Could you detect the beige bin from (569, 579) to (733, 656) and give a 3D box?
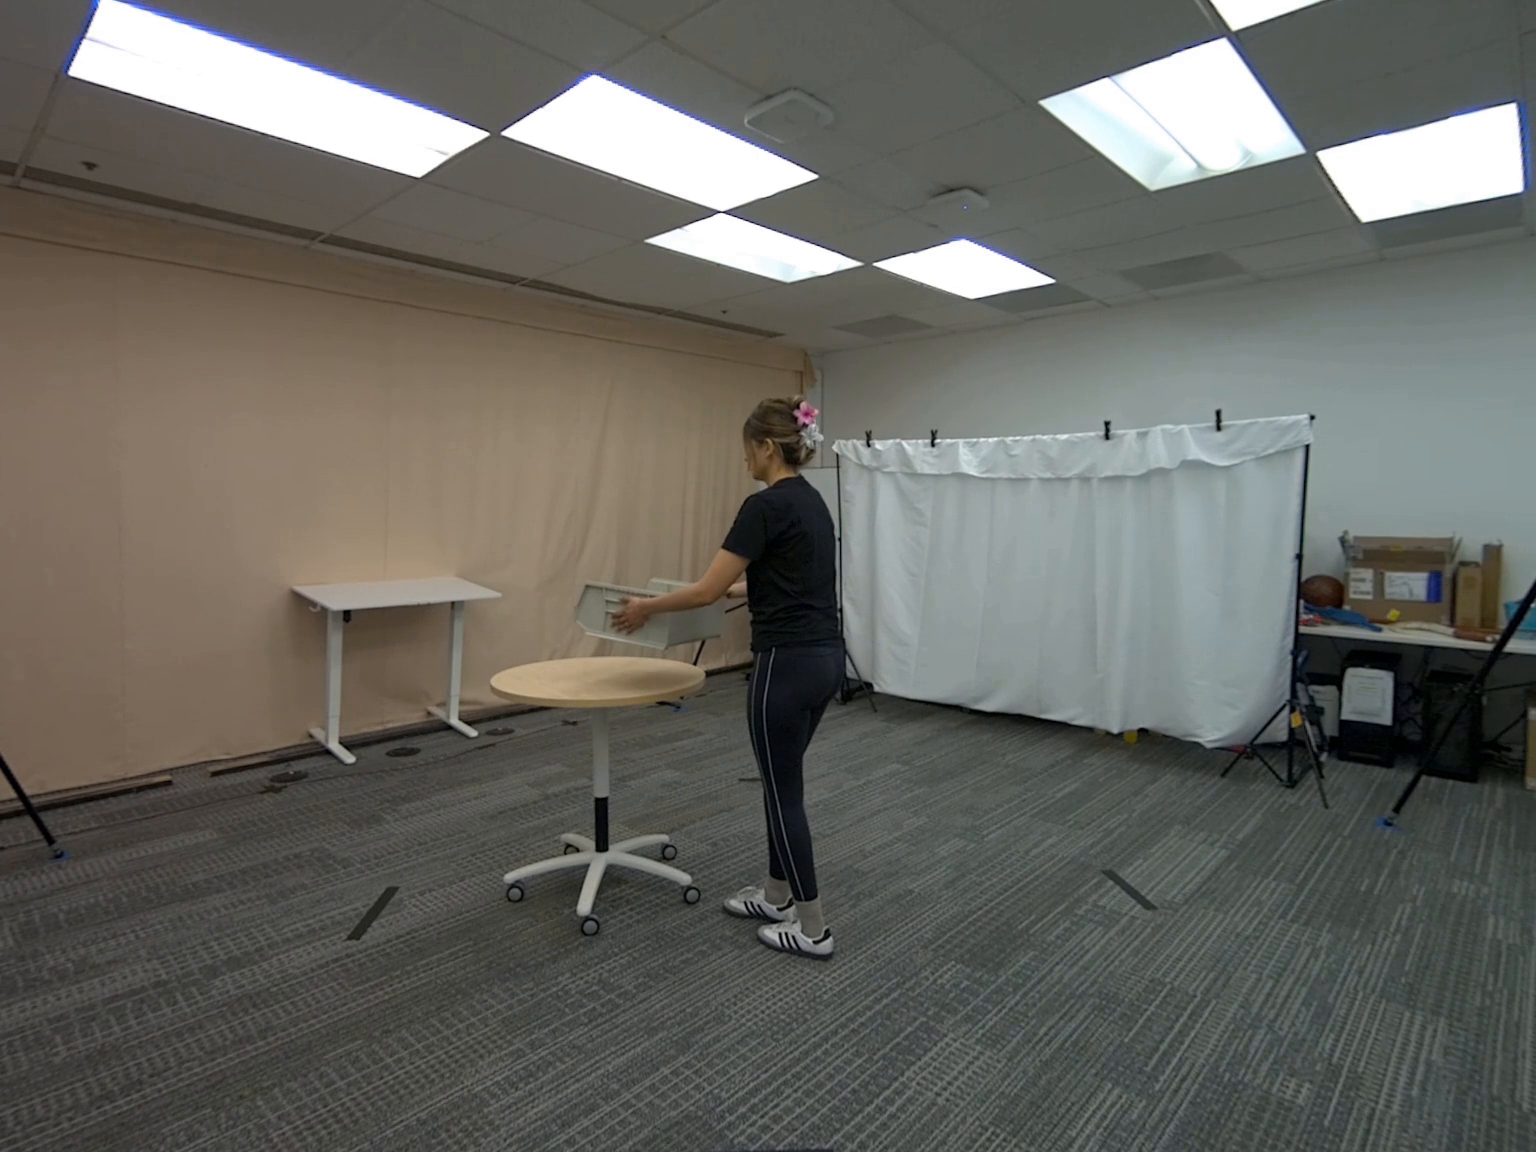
[{"bbox_3d":[-0.393,0.129,2.904,0.388,0.189,0.411,7,3,25],"label":"beige bin"}]
